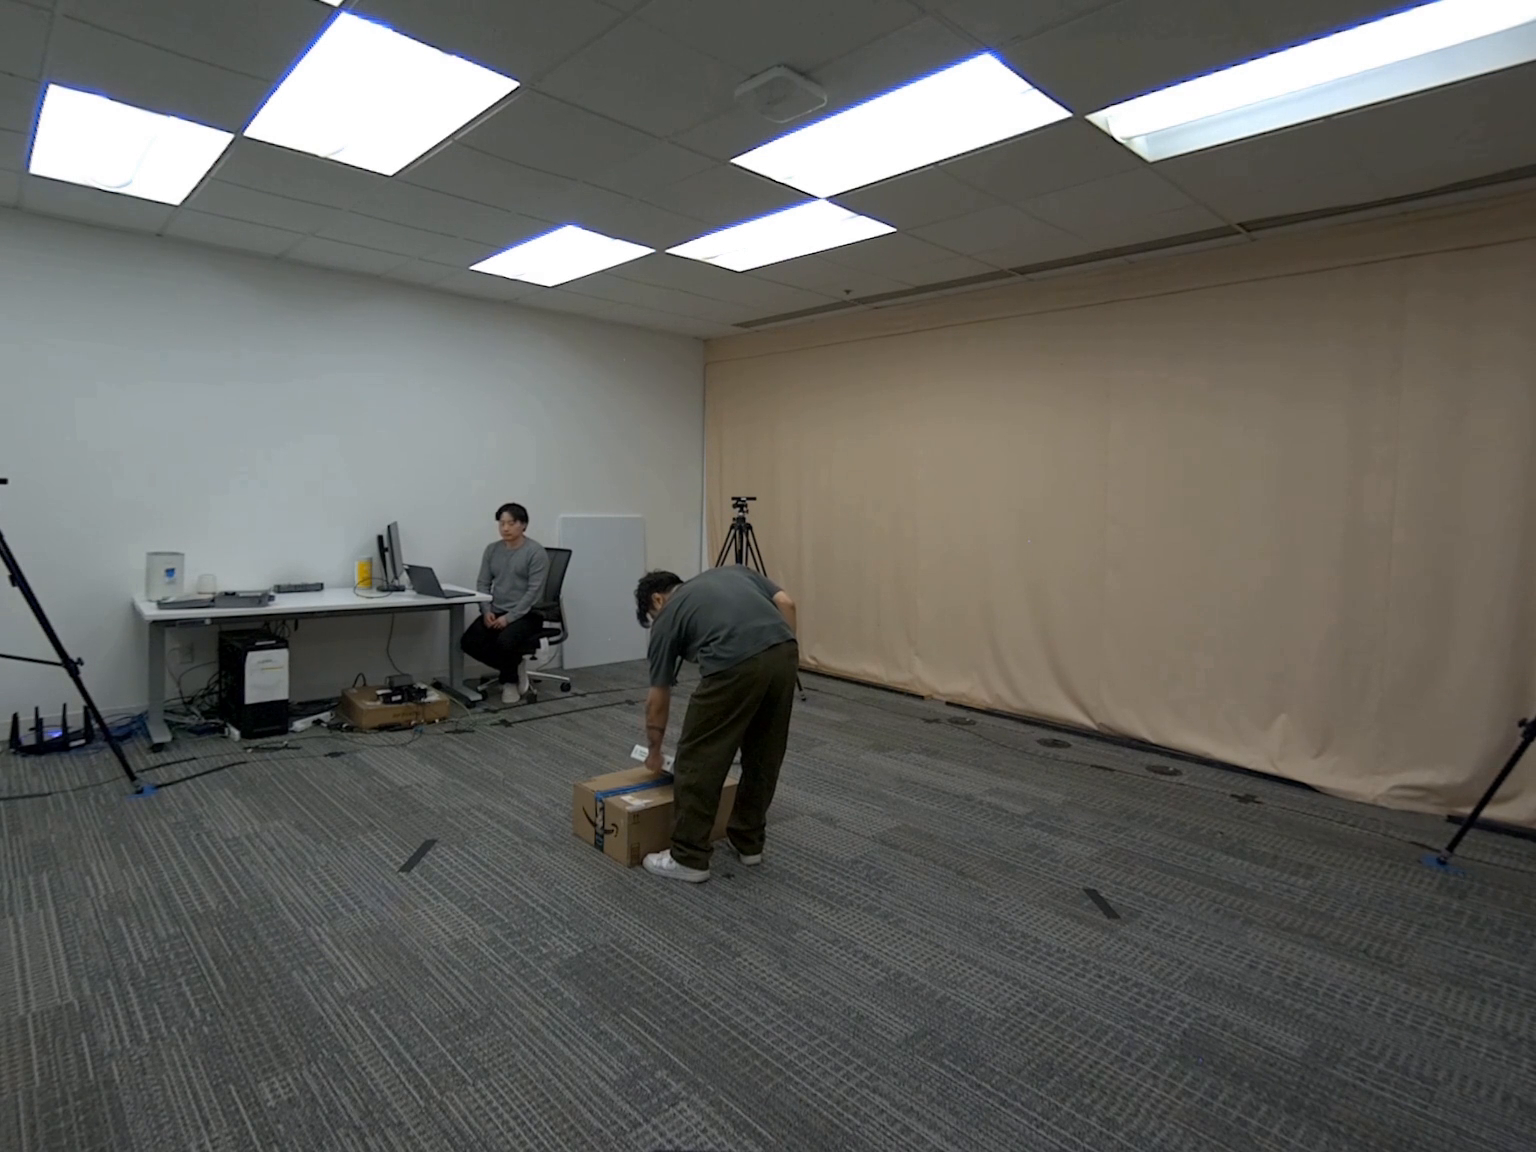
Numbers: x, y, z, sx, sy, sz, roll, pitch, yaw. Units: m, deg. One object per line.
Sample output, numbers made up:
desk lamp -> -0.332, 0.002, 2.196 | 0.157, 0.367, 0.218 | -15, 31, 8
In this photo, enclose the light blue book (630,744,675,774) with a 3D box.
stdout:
light blue book -> -0.422, 0.788, 3.505 | 0.268, 0.059, 0.185 | 6, -23, 45
